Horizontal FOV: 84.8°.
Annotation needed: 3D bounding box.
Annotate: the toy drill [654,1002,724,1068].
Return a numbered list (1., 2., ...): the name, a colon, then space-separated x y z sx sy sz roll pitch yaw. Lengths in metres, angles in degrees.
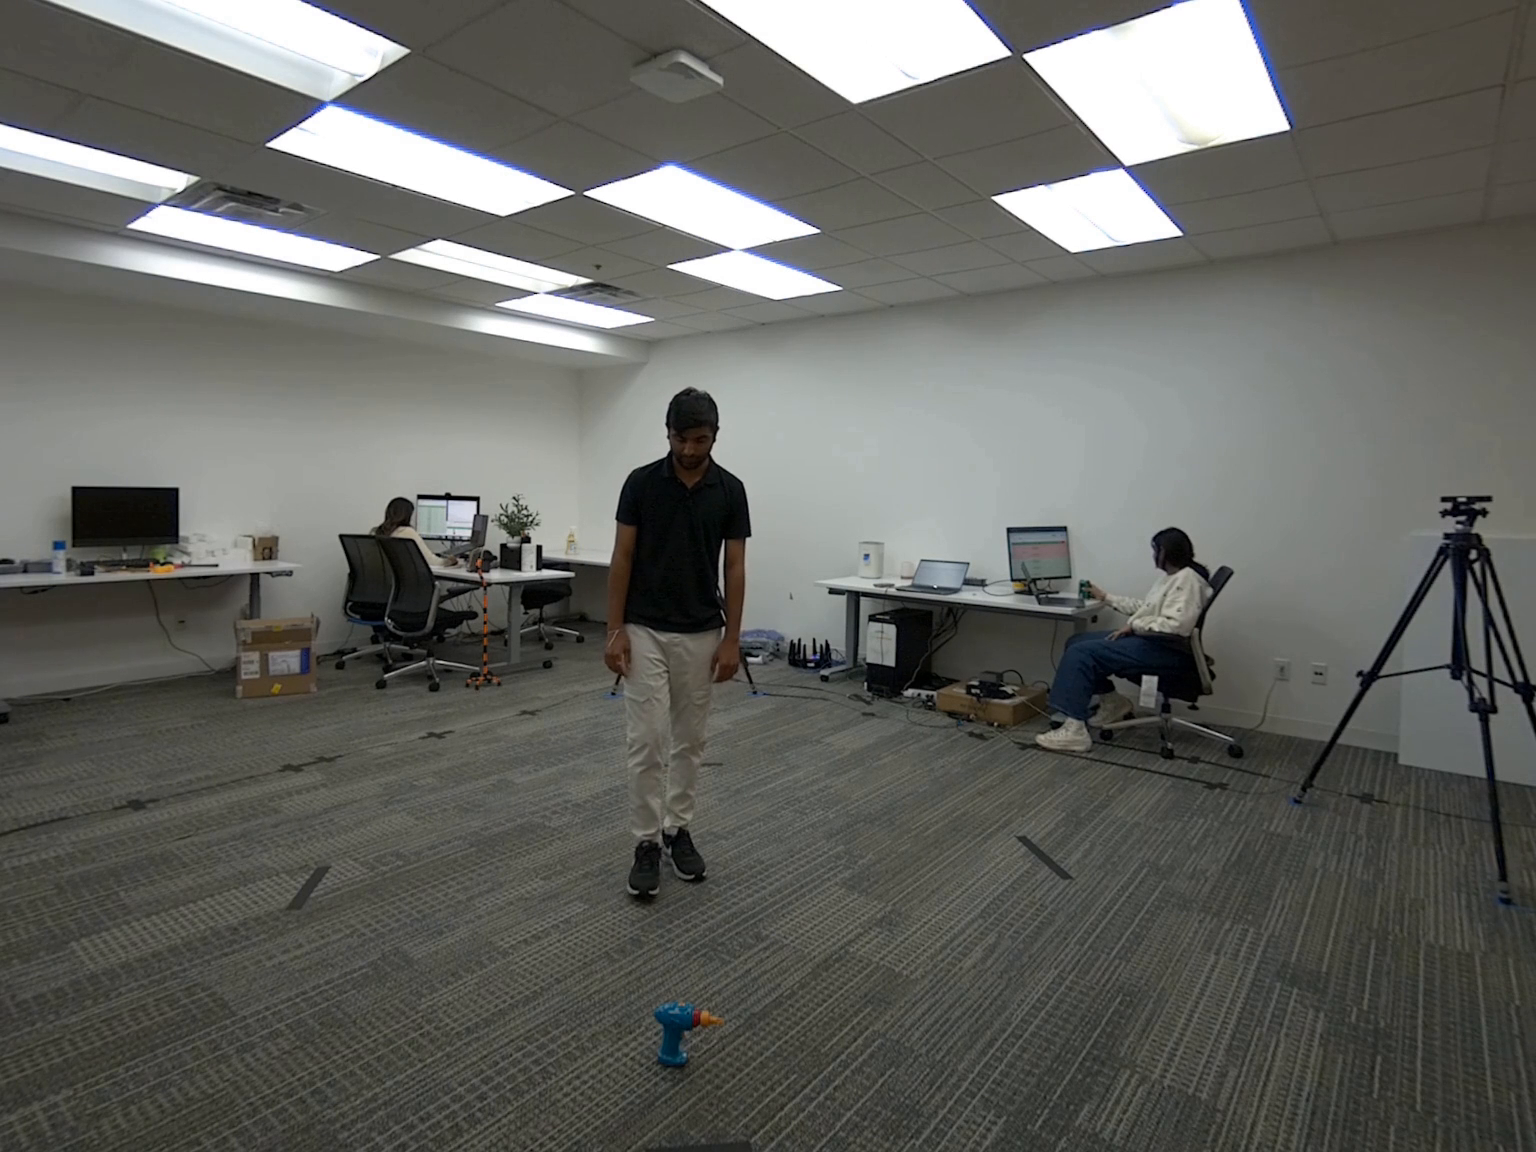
1. toy drill: -0.197 1.101 2.057 0.170 0.146 0.061 1 3 2
